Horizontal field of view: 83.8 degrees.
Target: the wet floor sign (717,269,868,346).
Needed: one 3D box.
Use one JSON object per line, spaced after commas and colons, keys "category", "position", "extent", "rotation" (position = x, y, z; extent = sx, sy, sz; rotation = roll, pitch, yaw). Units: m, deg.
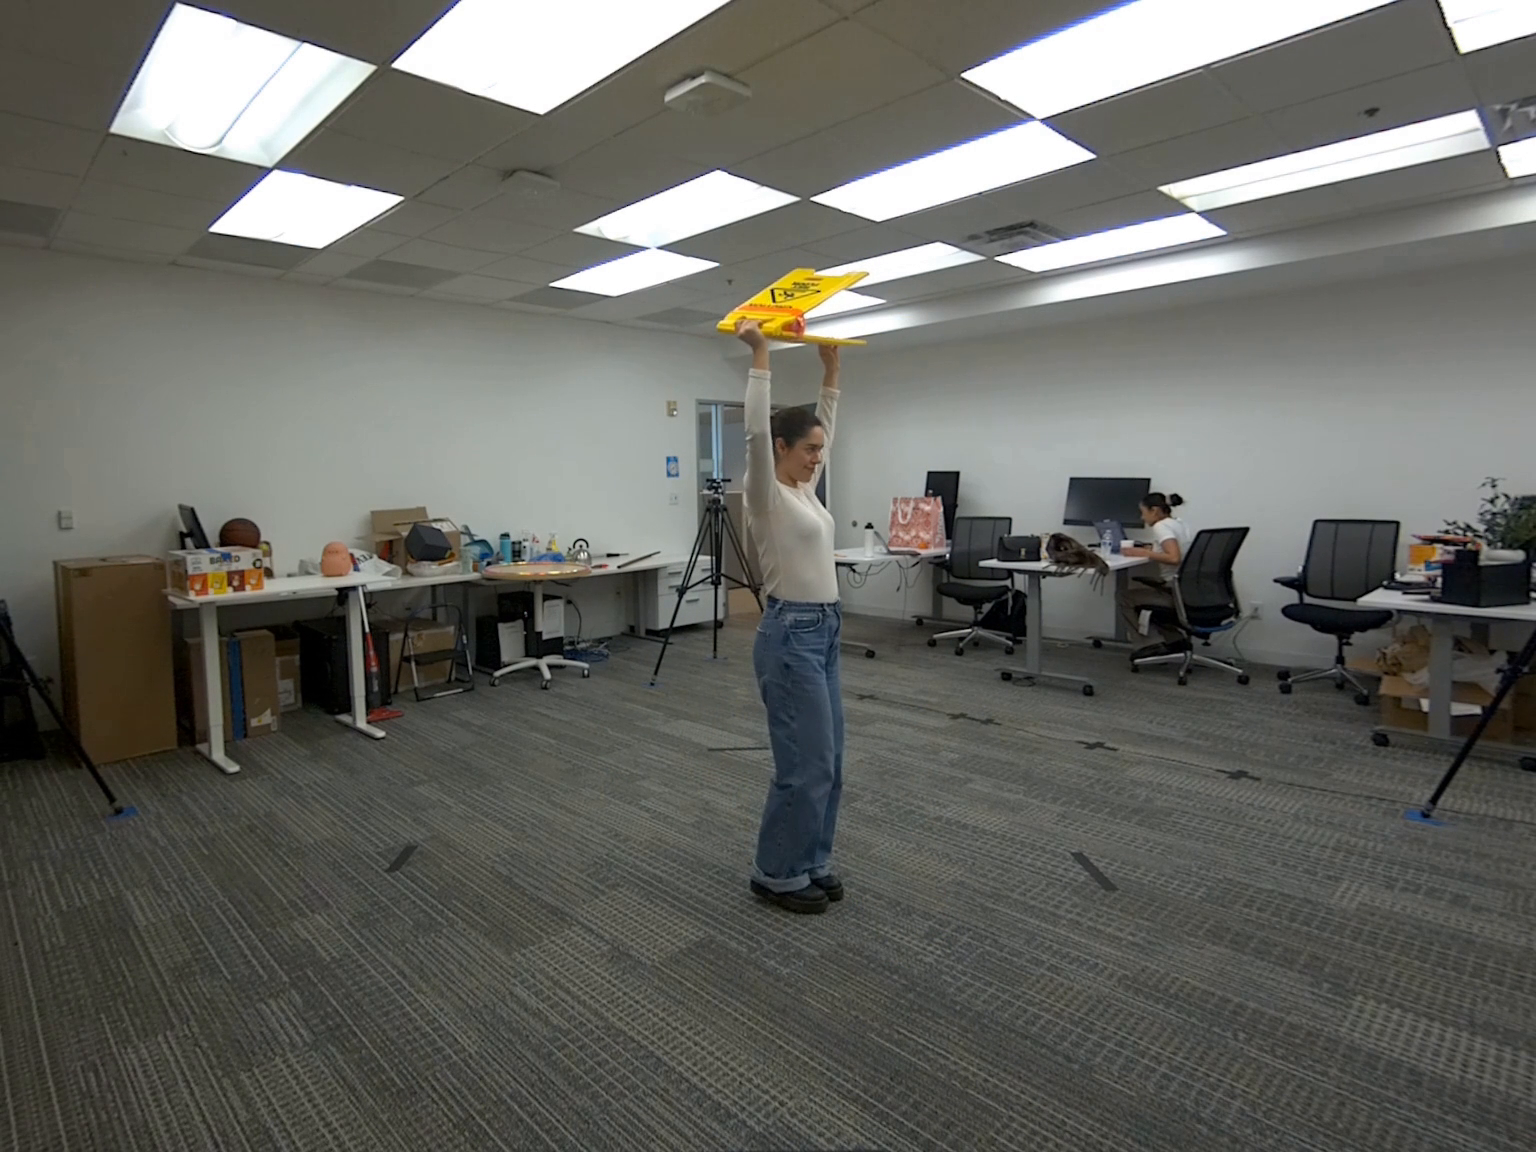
{"category": "wet floor sign", "position": [0.078, -0.836, 2.755], "extent": [0.290, 0.284, 0.641], "rotation": [10, 24, 25]}
